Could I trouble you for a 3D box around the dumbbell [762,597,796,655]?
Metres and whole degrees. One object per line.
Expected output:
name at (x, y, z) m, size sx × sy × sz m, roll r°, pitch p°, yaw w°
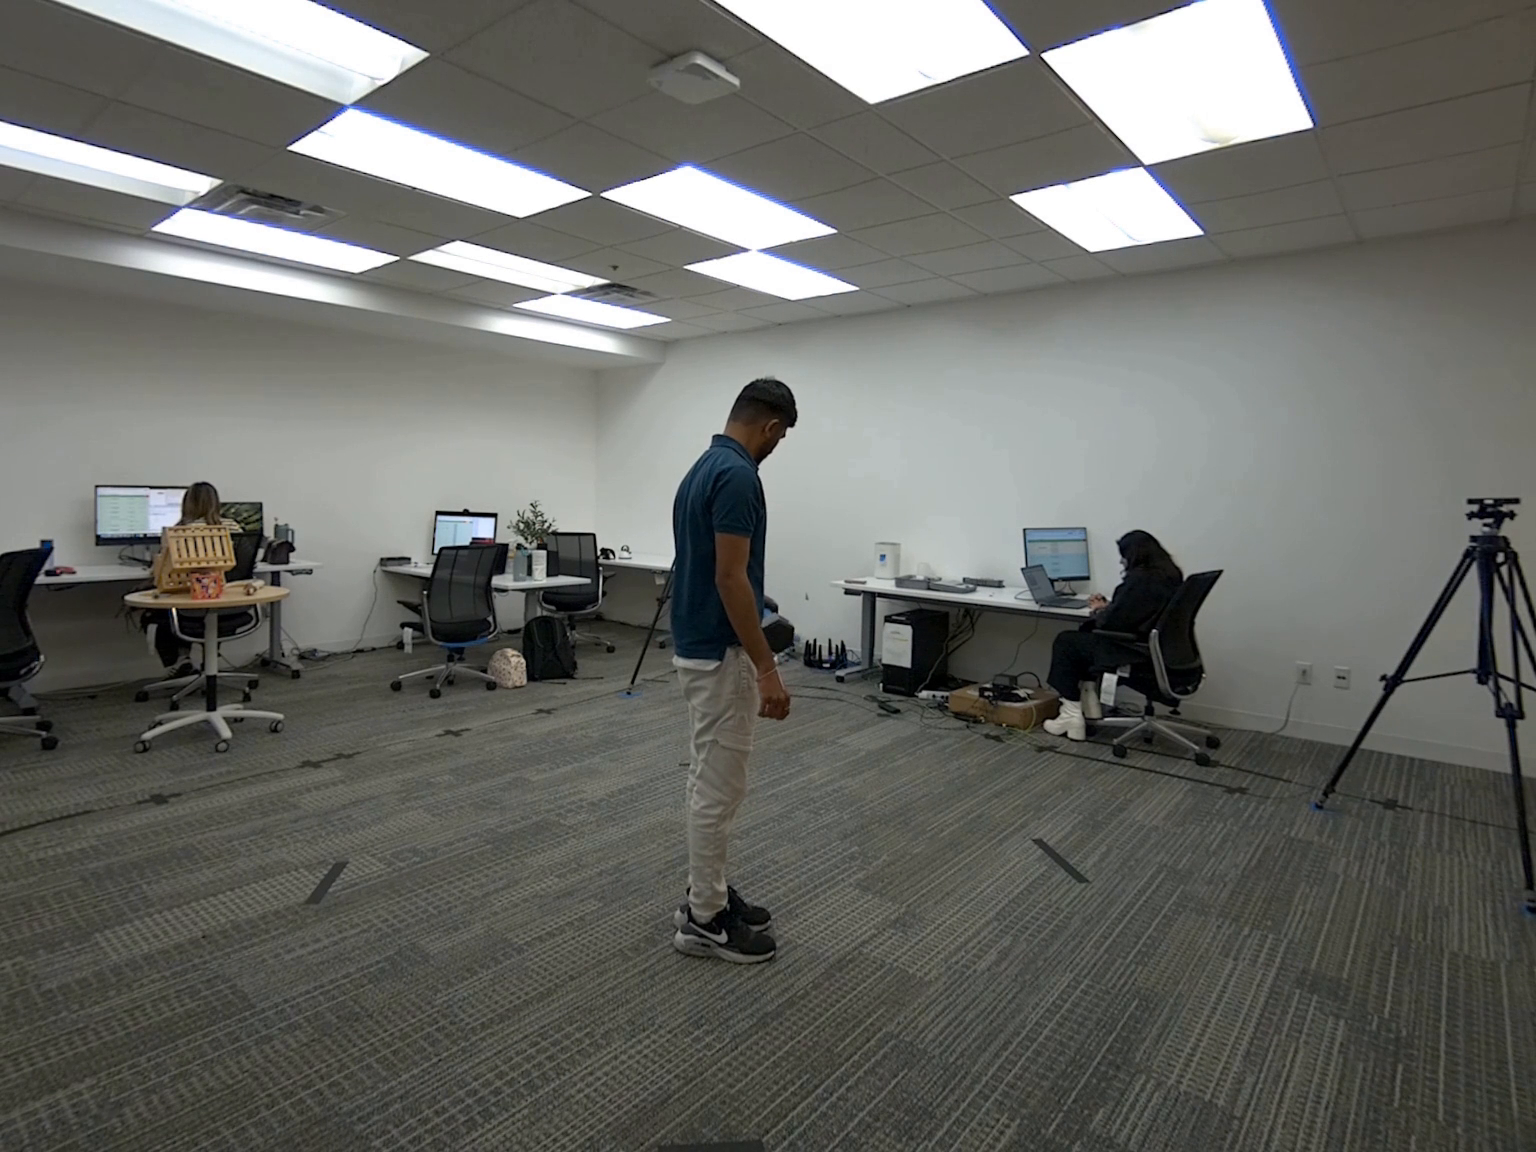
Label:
dumbbell at (-0.006, 0.138, 2.847) m, size 0.120 × 0.108 × 0.301 m, roll 31°, pitch 6°, yaw -19°
